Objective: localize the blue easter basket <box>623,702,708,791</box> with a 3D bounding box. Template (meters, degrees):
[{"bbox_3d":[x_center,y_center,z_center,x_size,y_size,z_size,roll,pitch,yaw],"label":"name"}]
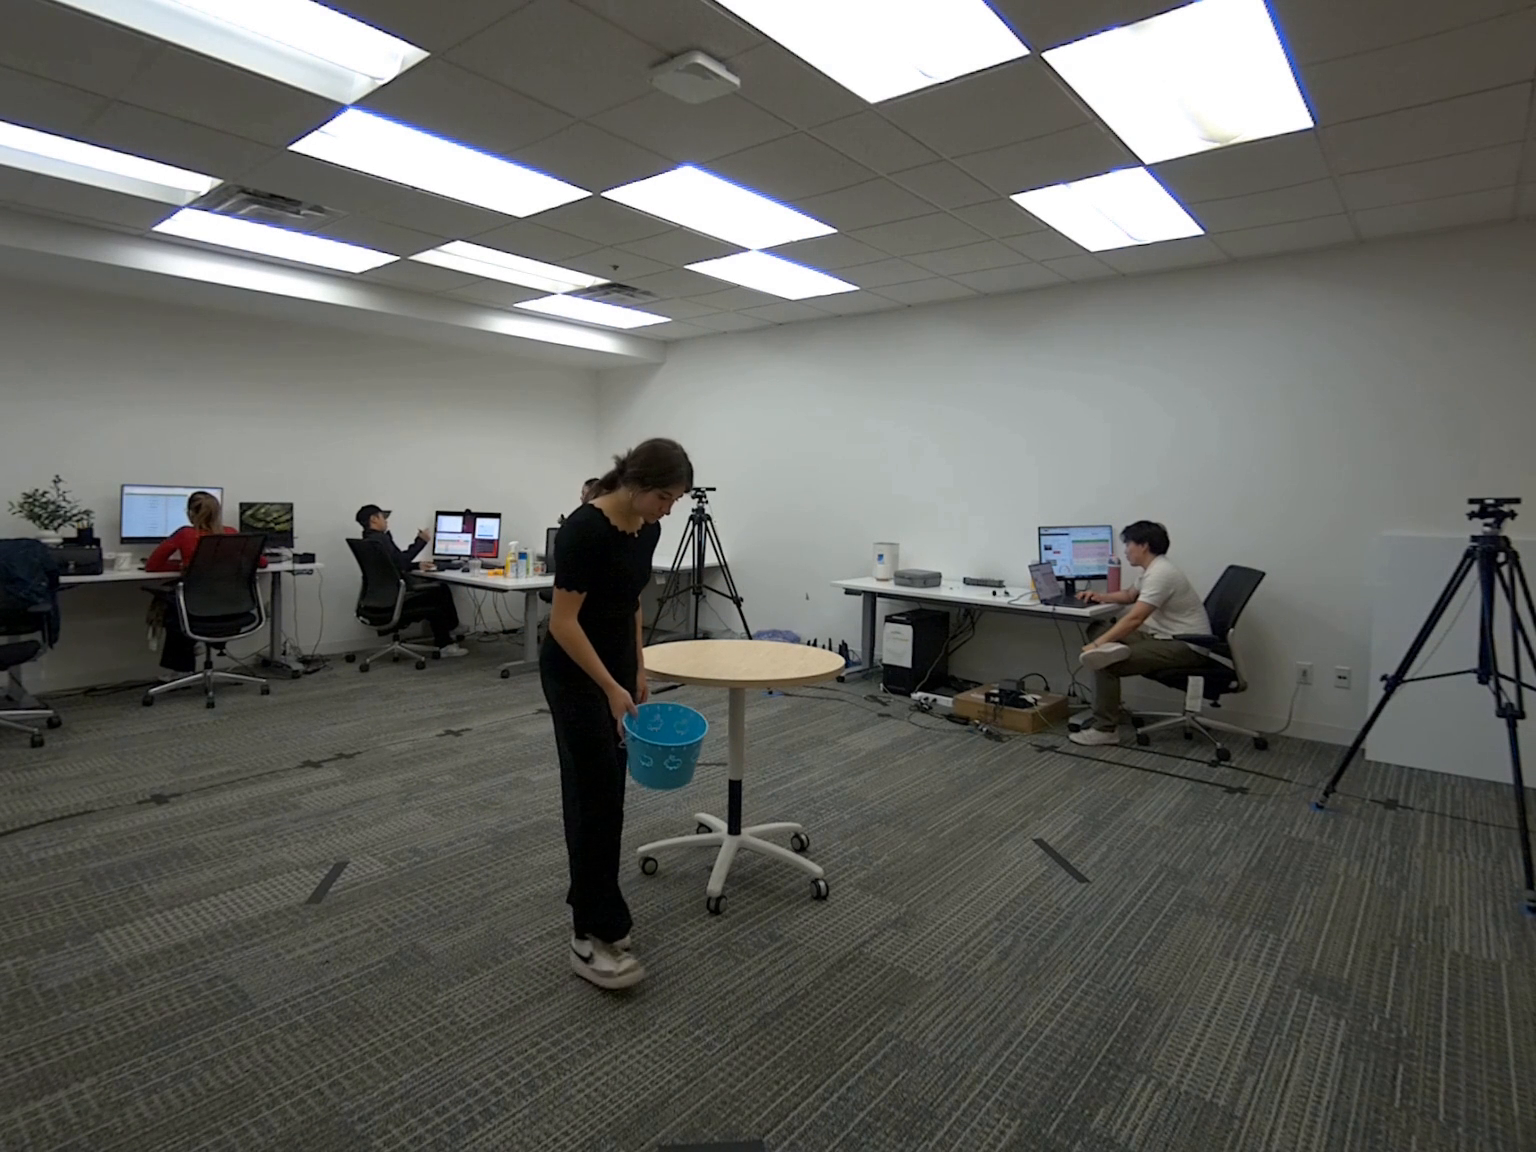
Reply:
[{"bbox_3d":[-0.295,0.471,2.320,0.243,0.154,0.247,5,16,-3],"label":"blue easter basket"}]
